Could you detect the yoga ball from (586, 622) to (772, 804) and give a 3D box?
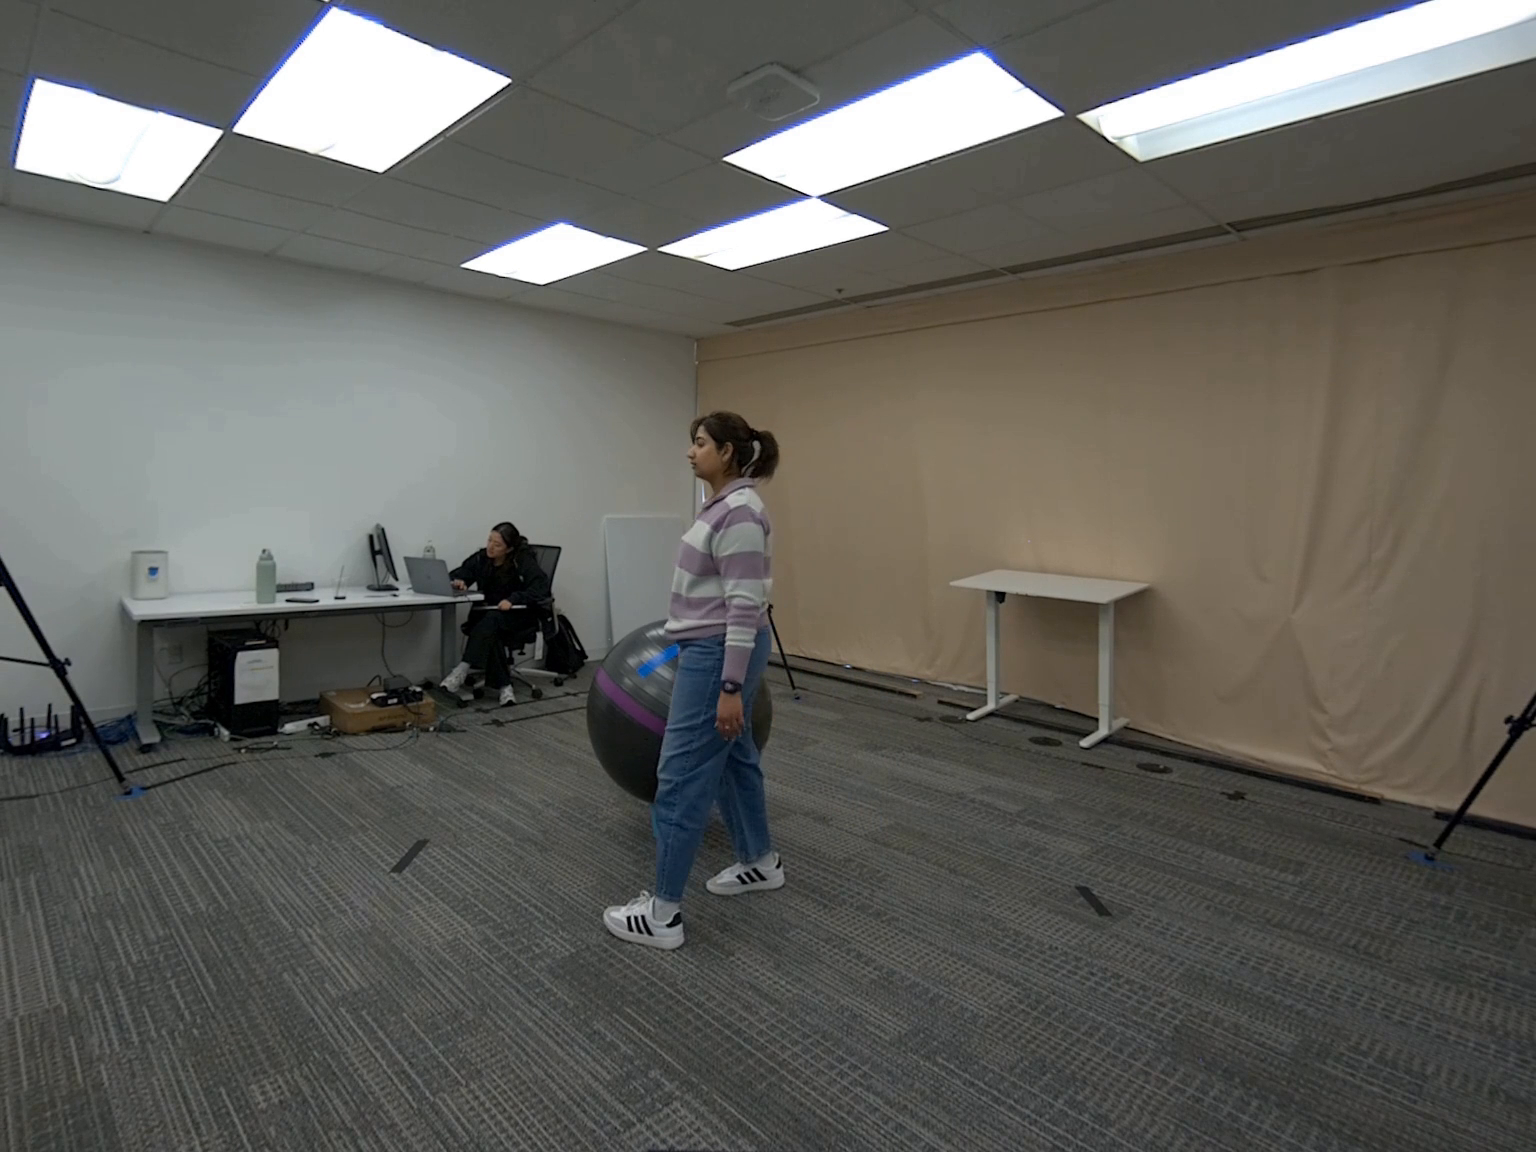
[{"bbox_3d":[-0.369,0.562,3.472,0.757,0.756,0.761,1,4,-1],"label":"yoga ball"}]
